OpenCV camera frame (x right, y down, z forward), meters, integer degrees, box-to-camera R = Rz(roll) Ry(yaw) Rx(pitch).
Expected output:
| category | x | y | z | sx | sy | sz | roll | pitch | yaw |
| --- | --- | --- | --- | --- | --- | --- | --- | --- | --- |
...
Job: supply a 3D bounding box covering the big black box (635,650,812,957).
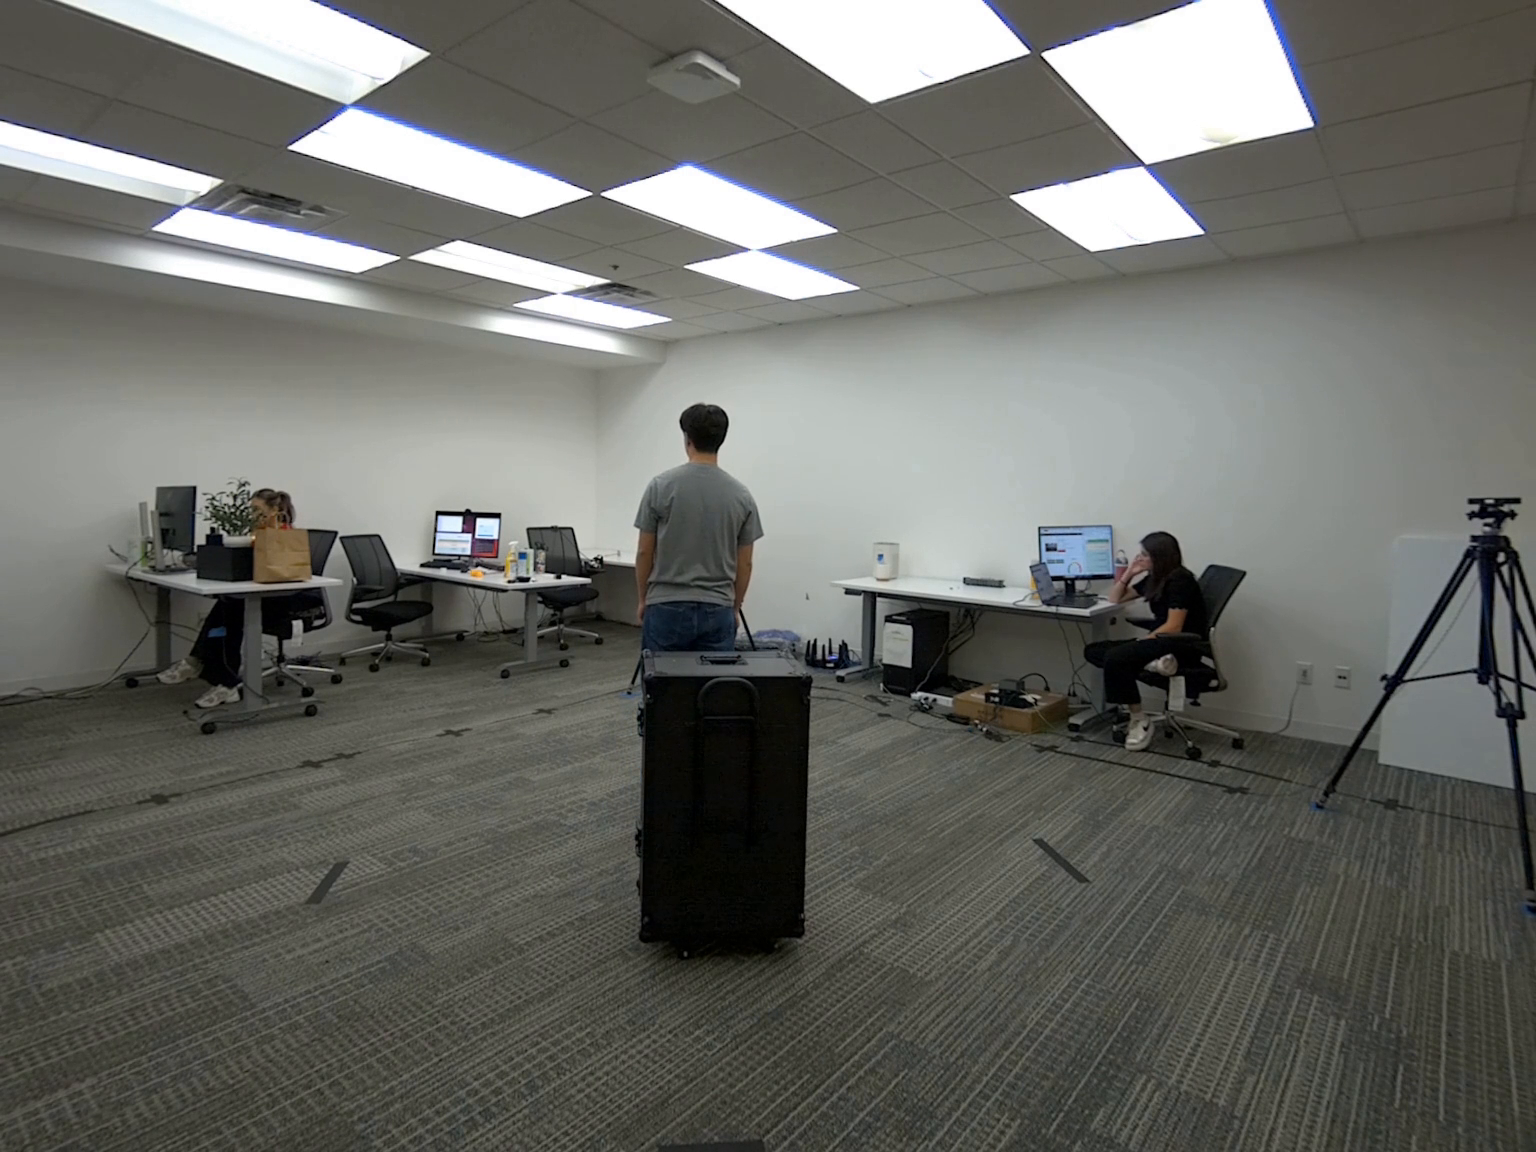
| category | x | y | z | sx | sy | sz | roll | pitch | yaw |
| --- | --- | --- | --- | --- | --- | --- | --- | --- | --- |
| big black box | -0.160 | 0.638 | 2.617 | 0.517 | 0.858 | 0.401 | 1 | 4 | -8 |
